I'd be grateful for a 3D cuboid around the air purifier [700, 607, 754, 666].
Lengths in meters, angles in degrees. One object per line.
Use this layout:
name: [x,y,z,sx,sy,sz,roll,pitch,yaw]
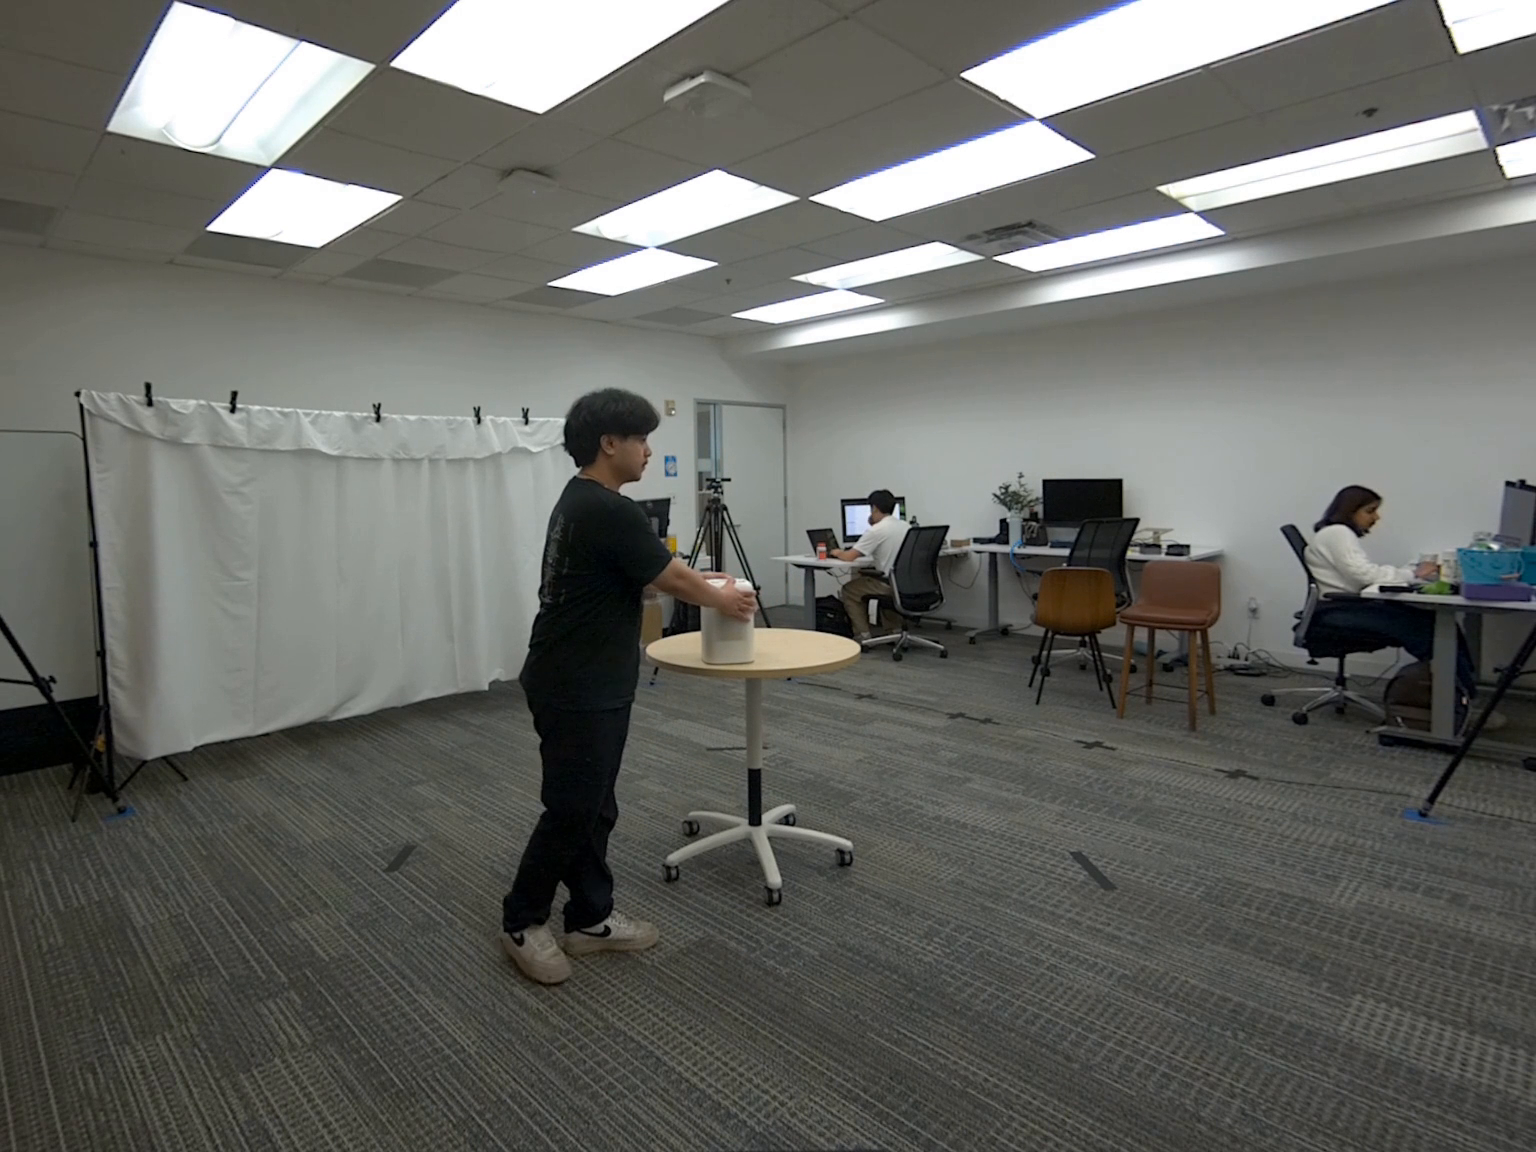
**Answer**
air purifier: [-0.133,0.150,2.840,0.170,0.264,0.173,-2,6,-8]
